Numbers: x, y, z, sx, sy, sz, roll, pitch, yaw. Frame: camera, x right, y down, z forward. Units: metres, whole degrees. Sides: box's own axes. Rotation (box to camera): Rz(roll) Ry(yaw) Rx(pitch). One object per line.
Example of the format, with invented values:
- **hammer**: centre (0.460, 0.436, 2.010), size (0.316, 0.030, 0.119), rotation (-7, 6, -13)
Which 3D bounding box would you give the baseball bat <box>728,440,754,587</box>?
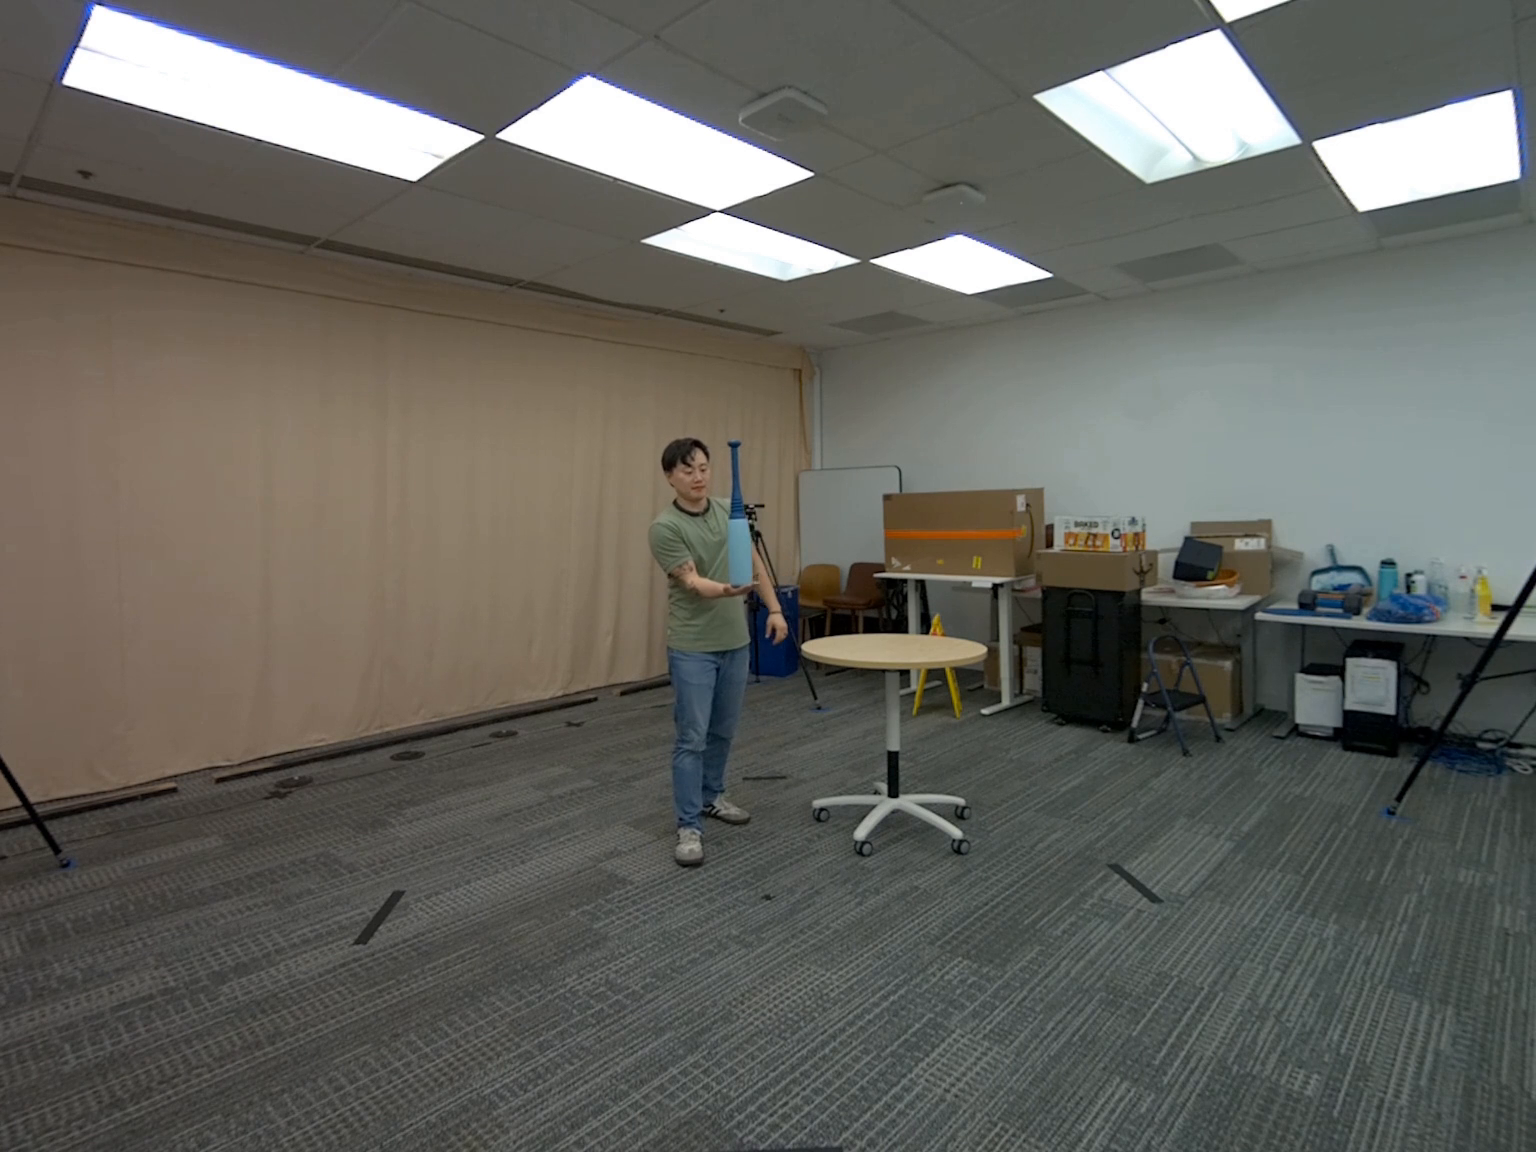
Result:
- **baseball bat**: centre (-0.109, -0.233, 3.116), size (0.089, 0.542, 0.089), rotation (-2, 2, -2)
